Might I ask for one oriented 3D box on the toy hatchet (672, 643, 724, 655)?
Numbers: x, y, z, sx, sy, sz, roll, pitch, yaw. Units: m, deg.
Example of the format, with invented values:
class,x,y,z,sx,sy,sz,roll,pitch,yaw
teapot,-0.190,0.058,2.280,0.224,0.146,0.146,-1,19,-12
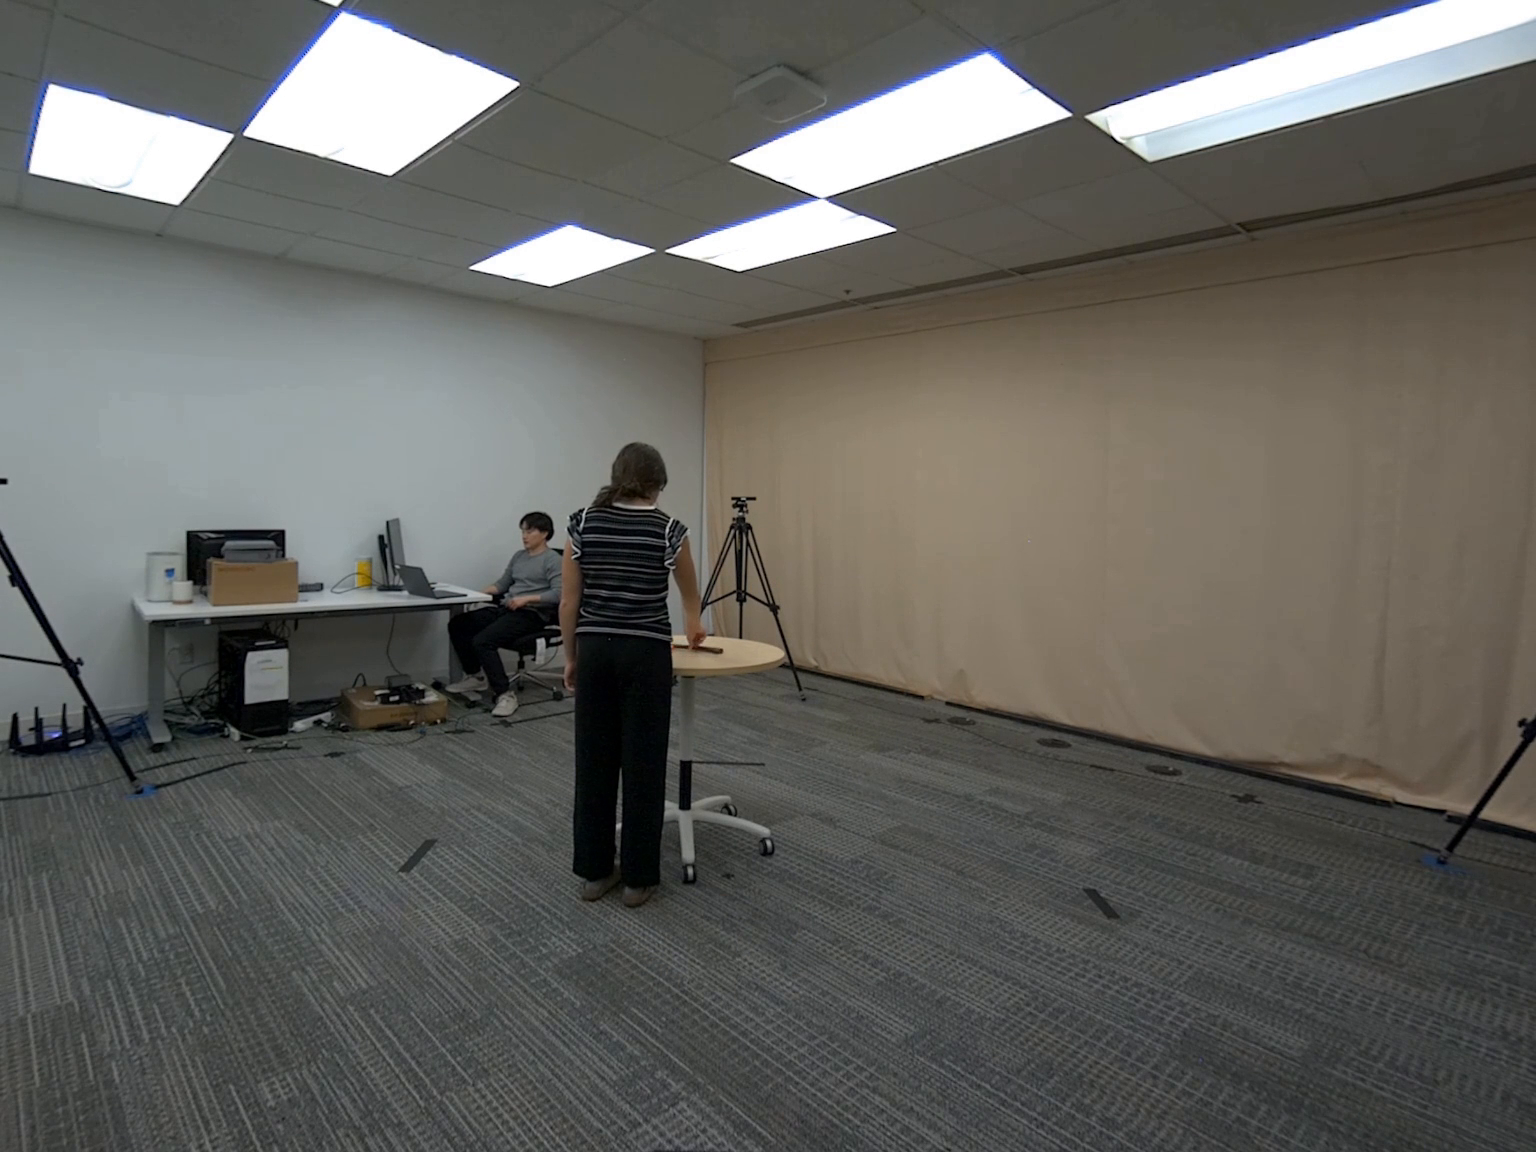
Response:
class,x,y,z,sx,sy,sz,roll,pitch,yaw
toy hatchet,-0.325,0.286,3.318,0.275,0.029,0.129,4,3,22
